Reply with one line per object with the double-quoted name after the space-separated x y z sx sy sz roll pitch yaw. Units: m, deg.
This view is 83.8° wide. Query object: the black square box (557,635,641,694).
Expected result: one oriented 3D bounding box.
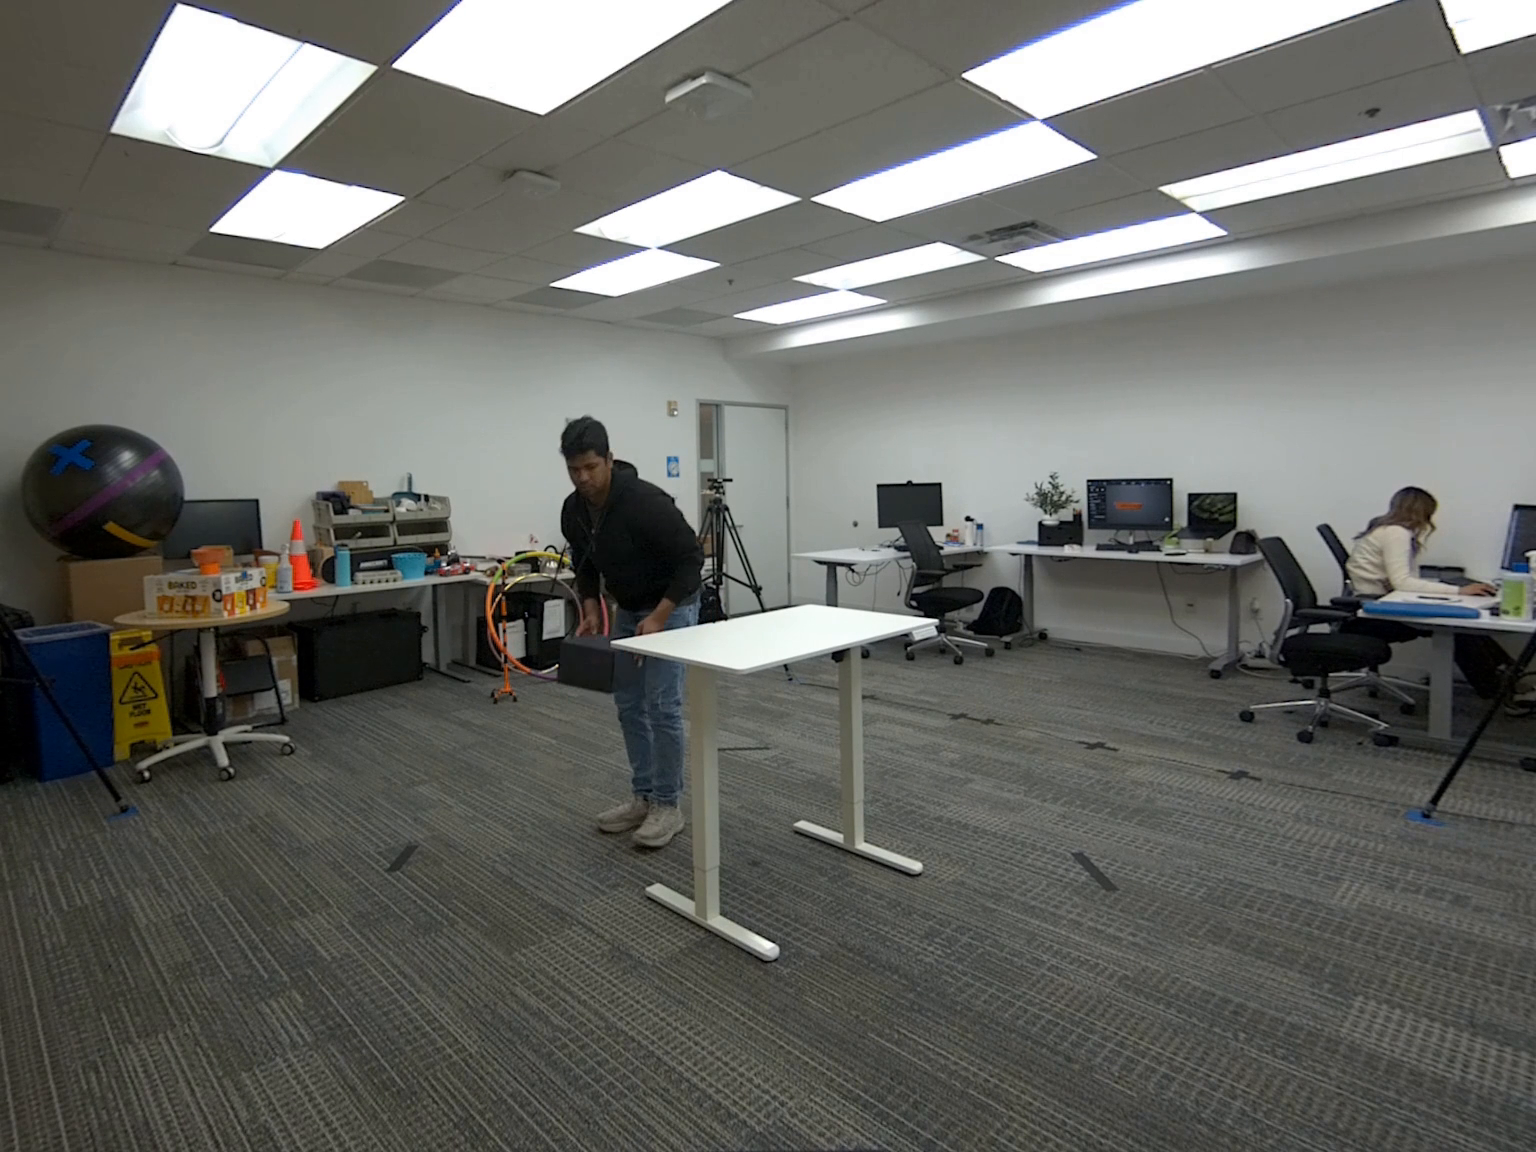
-0.612 0.323 3.126 0.233 0.155 0.213 7 4 21 "black square box"
